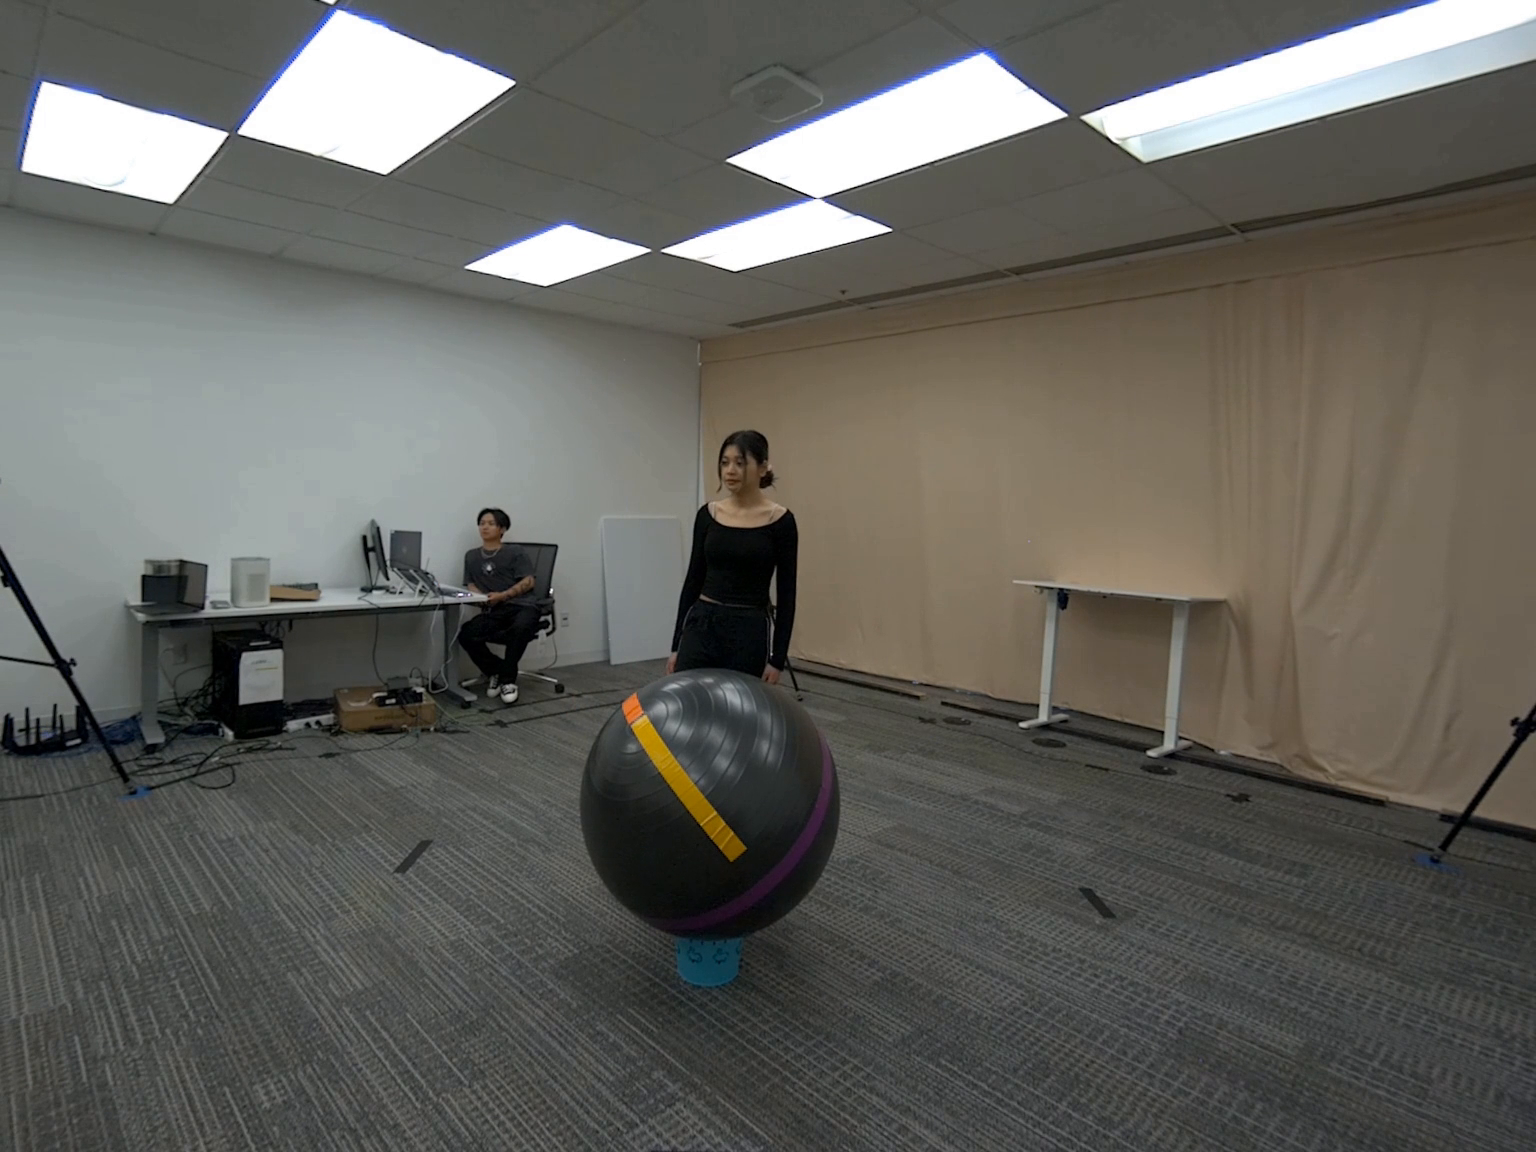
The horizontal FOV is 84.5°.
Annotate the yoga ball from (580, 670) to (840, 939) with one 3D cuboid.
[{"bbox_3d":[-0.172,0.661,2.457,0.757,0.756,0.761,1,4,-1],"label":"yoga ball"}]
